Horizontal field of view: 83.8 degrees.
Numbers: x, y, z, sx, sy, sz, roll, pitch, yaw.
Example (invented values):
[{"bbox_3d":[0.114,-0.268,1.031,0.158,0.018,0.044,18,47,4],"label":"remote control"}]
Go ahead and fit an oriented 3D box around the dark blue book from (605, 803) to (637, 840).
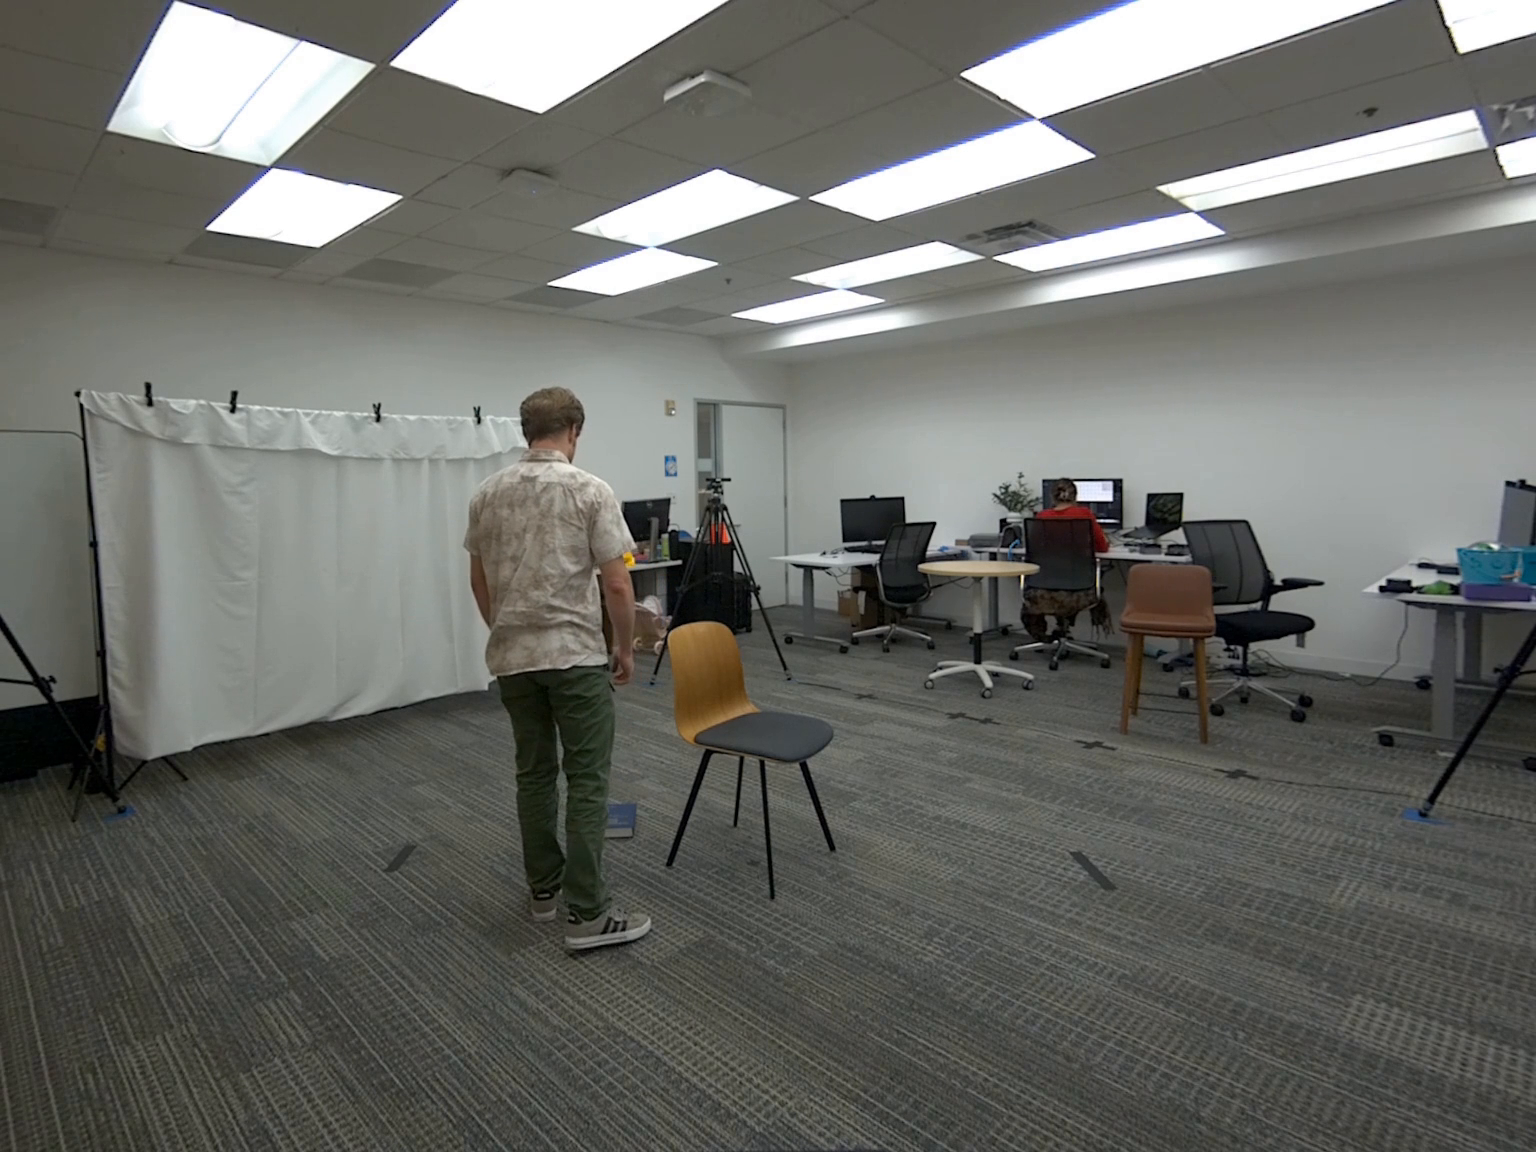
[{"bbox_3d":[-0.620,0.989,3.462,0.163,0.045,0.247,-2,7,-5],"label":"dark blue book"}]
